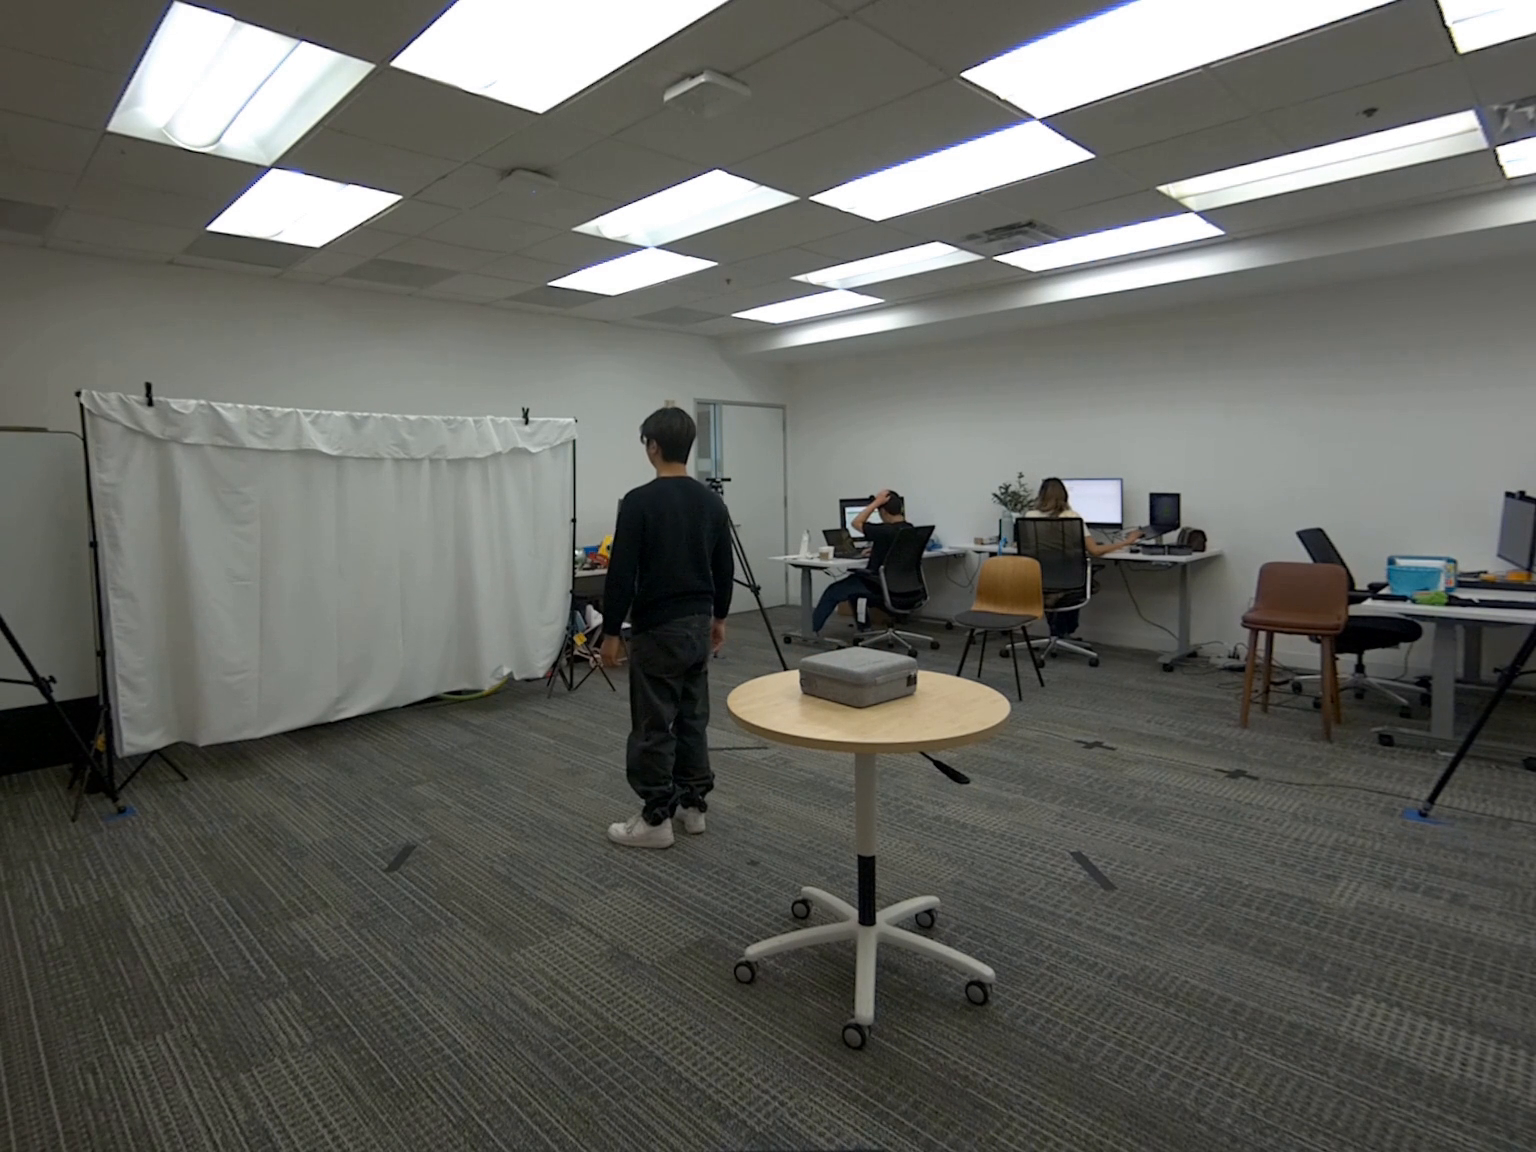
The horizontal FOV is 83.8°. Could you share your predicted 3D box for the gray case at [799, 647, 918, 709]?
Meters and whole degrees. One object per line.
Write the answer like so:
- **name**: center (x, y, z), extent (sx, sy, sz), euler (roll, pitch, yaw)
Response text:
- **gray case**: center (0.258, 0.279, 2.418), extent (0.250, 0.104, 0.268), euler (-8, 9, -38)
